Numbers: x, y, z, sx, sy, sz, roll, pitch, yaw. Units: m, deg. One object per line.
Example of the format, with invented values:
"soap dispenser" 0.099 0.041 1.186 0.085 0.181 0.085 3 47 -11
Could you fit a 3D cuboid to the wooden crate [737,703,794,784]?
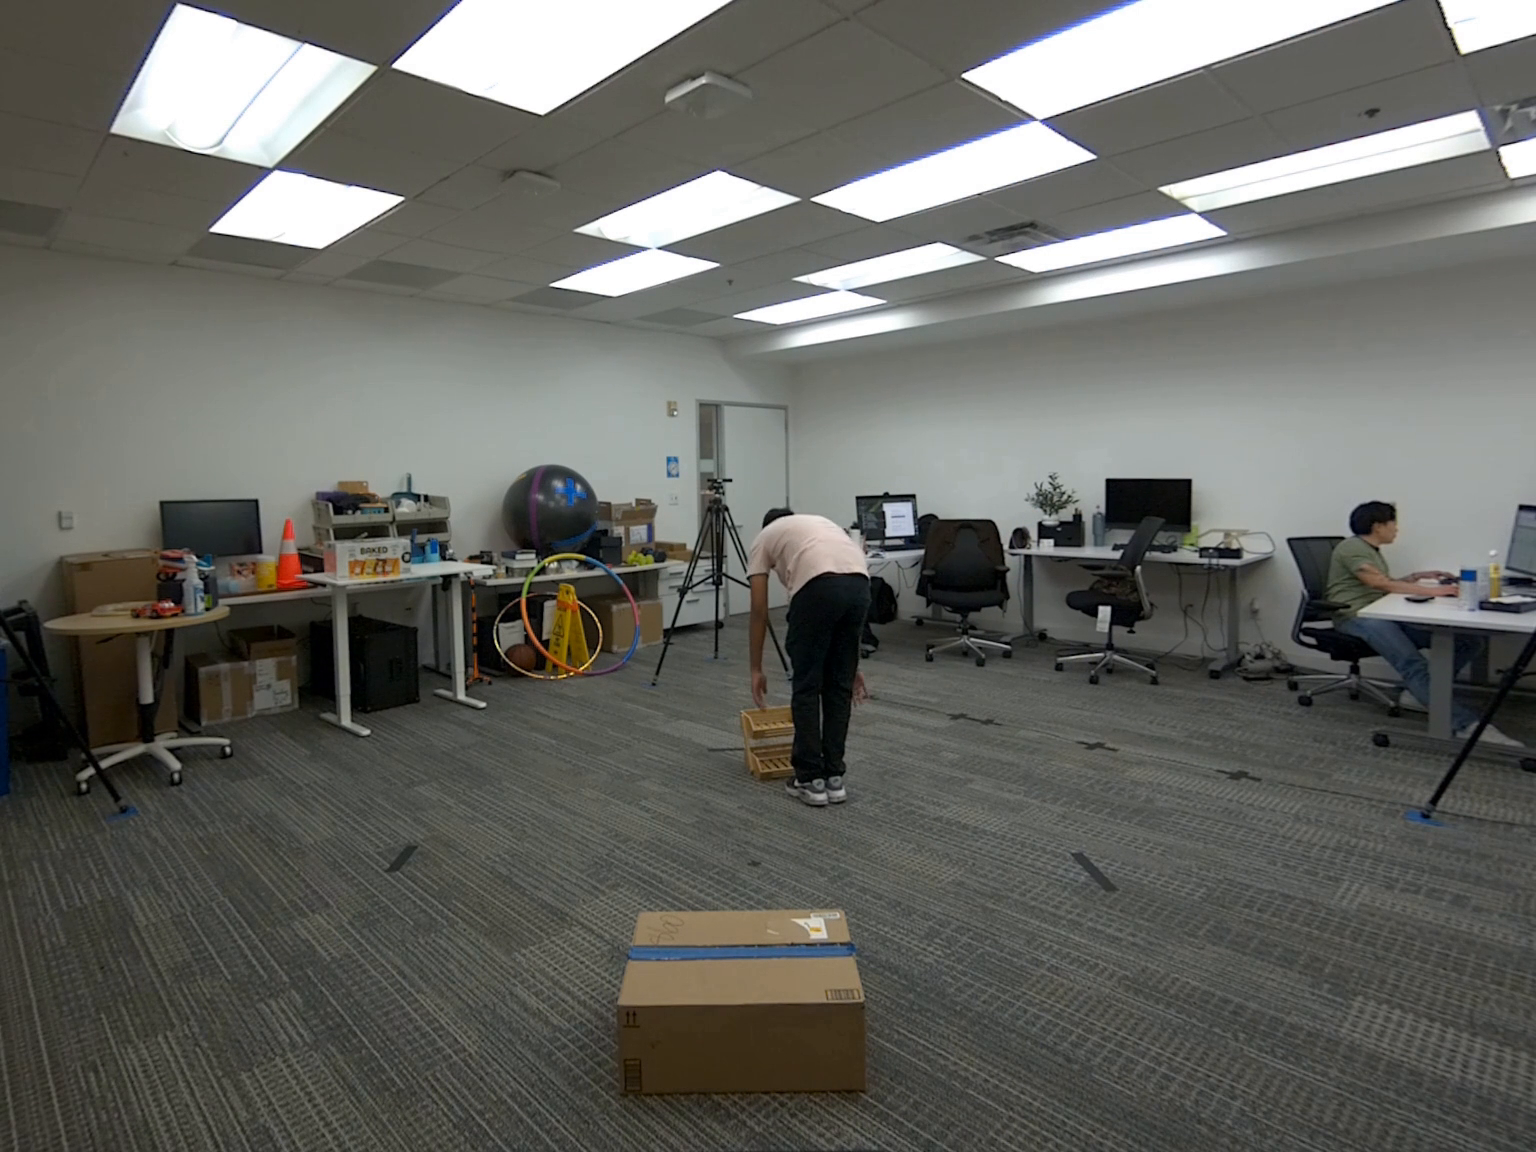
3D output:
"wooden crate" 0.057 0.789 4.113 0.319 0.272 0.308 -3 5 -18
